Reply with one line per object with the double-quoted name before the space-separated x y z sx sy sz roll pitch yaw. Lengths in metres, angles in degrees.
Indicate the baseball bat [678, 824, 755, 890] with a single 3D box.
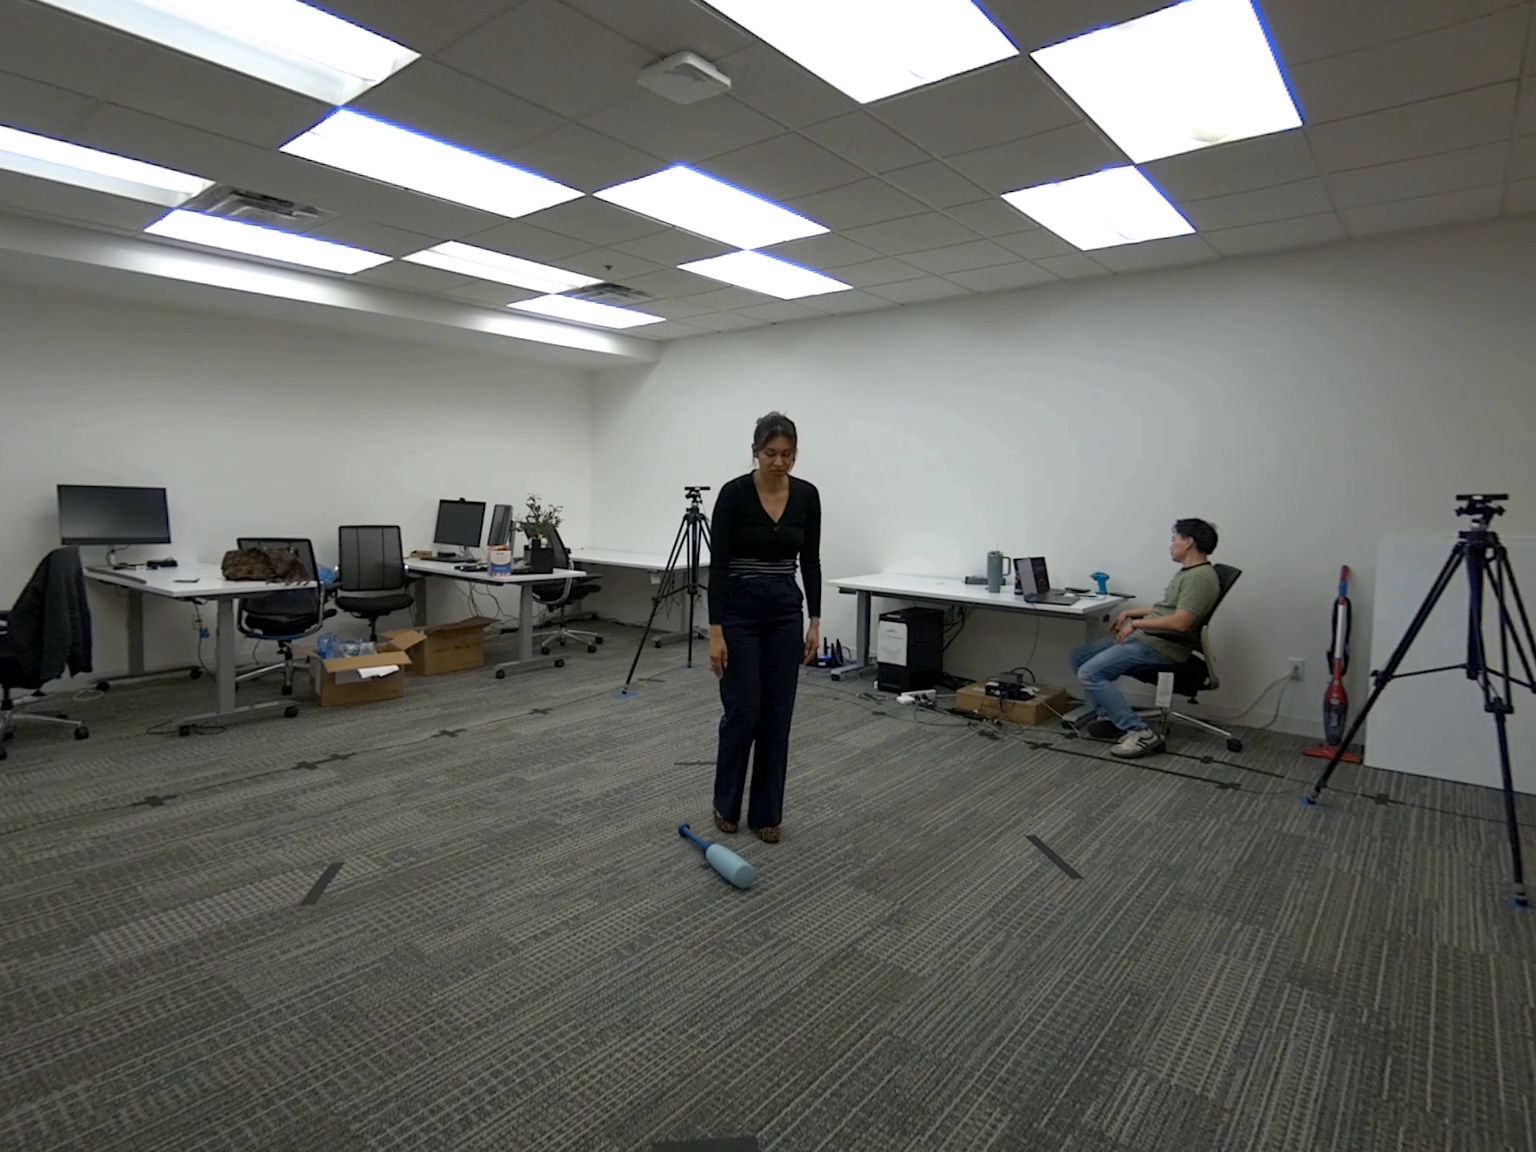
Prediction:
"baseball bat" -0.219 1.025 3.160 0.087 0.089 0.557 -1 3 -28
